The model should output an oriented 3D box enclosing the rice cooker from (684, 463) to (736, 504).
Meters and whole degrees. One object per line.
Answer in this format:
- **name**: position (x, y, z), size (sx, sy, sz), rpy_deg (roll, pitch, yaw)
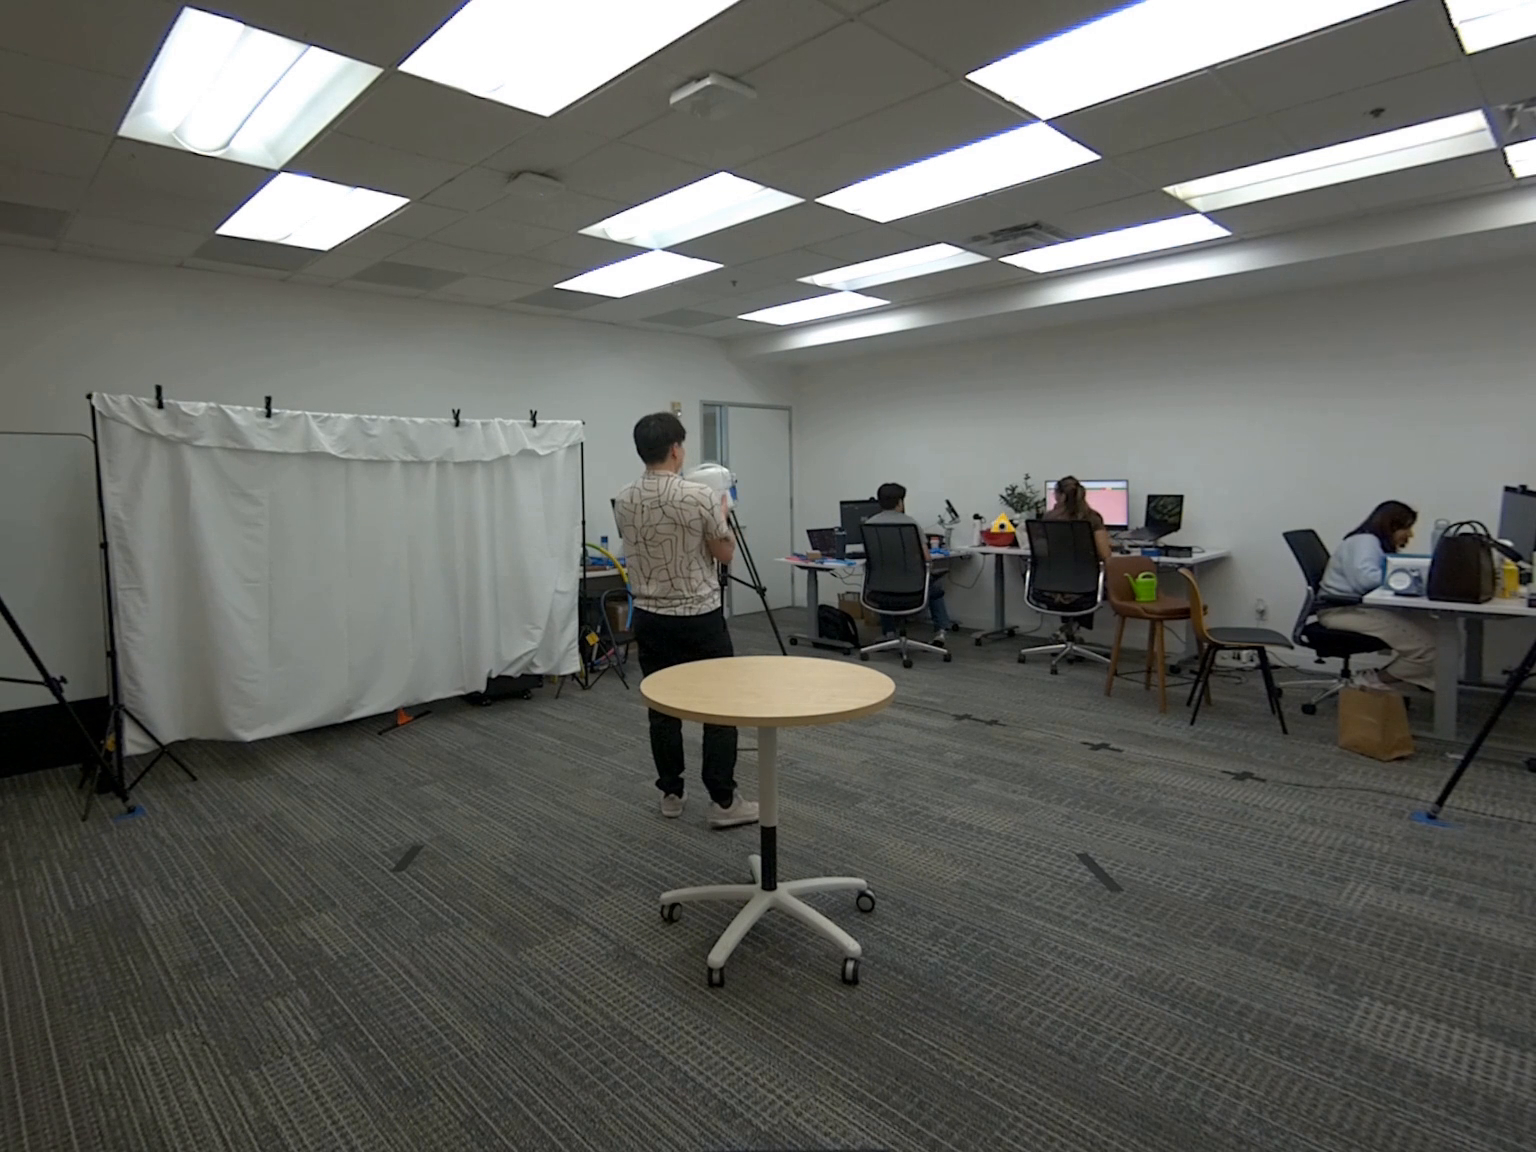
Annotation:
- **rice cooker**: position (-0.260, -0.385, 3.811), size (0.224, 0.231, 0.215), rpy_deg (-10, 7, 22)
